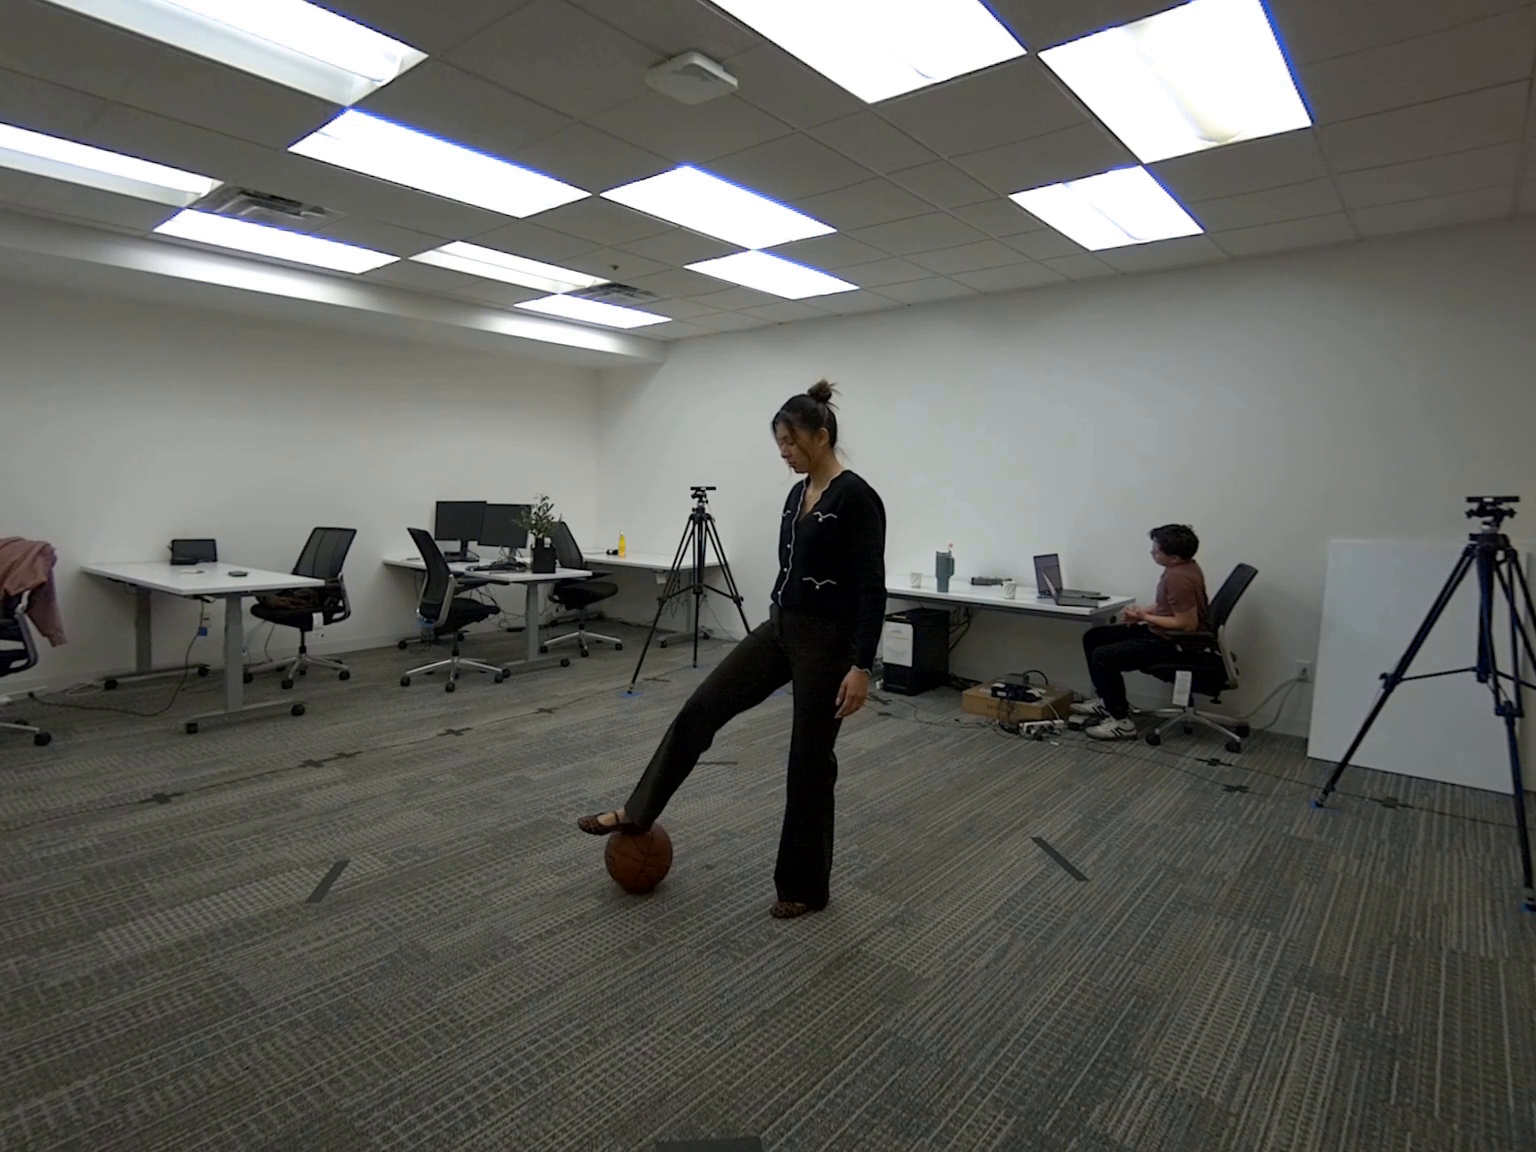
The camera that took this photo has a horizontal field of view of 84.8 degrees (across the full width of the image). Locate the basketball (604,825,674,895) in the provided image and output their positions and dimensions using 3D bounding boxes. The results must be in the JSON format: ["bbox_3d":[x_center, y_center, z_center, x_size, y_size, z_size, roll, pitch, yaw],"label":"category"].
[{"bbox_3d":[-0.451,0.960,2.949,0.235,0.235,0.237,1,4,-2],"label":"basketball"}]
